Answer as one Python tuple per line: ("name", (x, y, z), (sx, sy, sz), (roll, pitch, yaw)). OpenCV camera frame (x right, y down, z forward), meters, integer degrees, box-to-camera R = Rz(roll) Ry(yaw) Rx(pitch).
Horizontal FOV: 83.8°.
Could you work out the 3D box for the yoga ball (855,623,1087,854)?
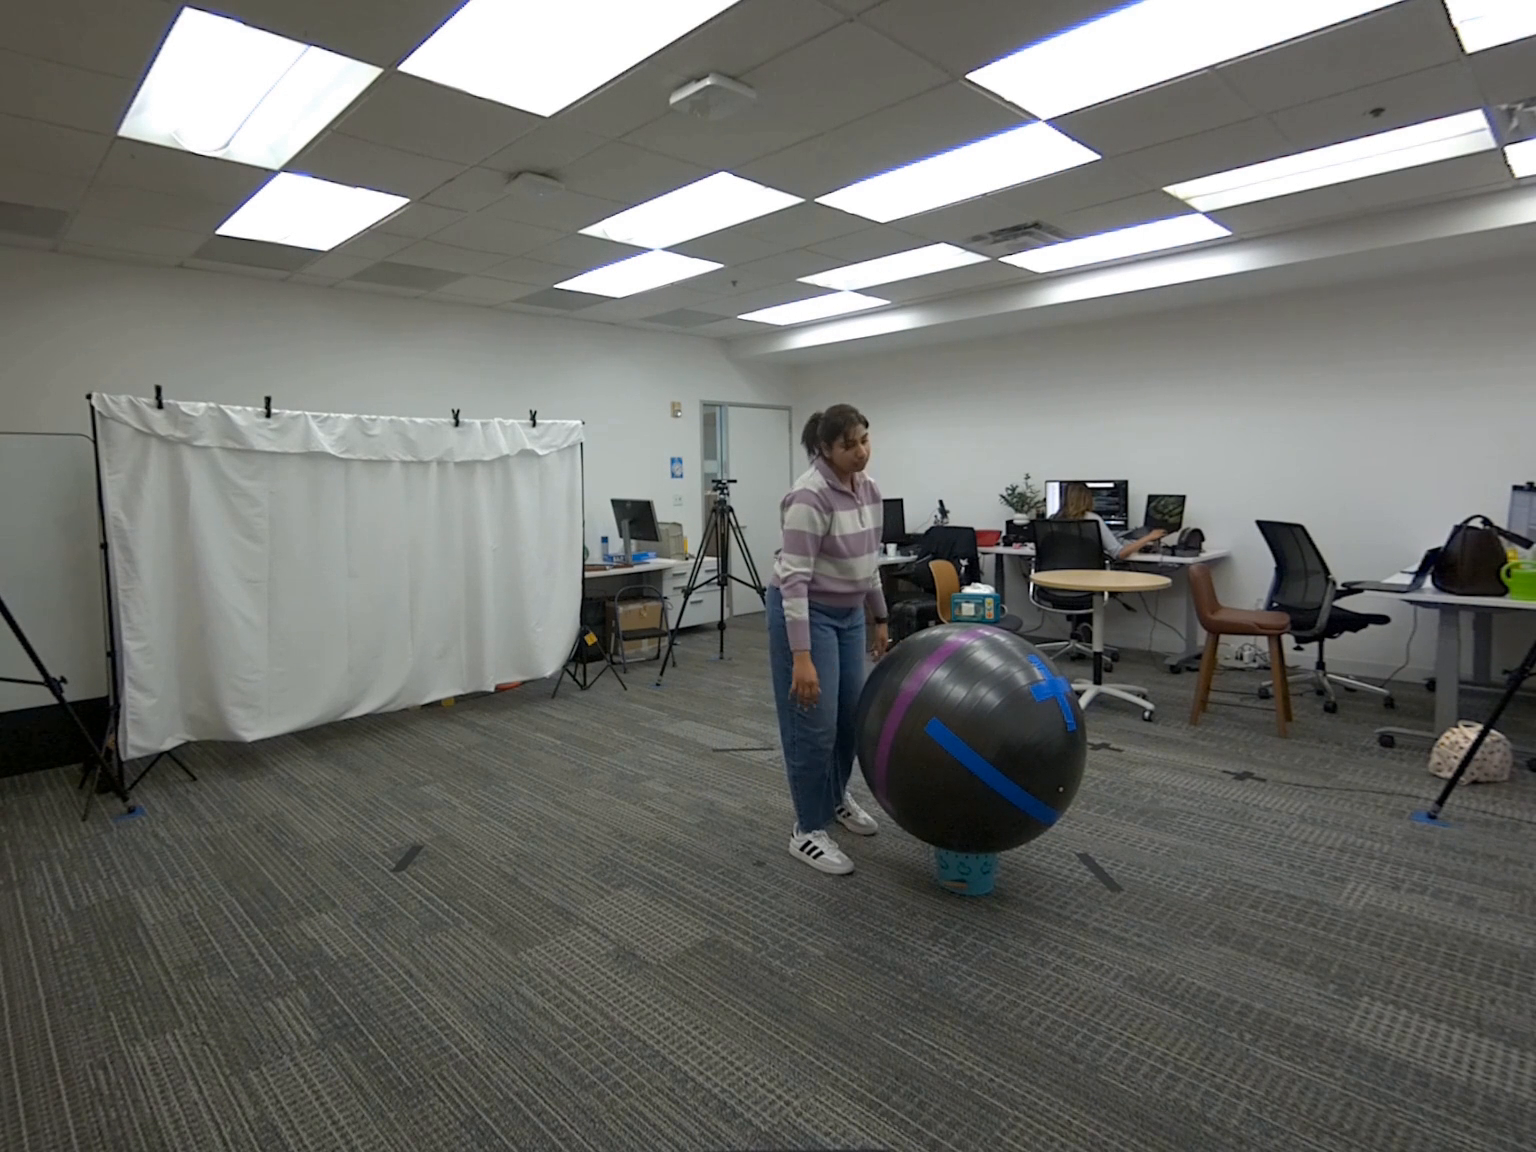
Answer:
("yoga ball", (0.692, 0.549, 2.901), (0.757, 0.755, 0.762), (-1, 5, -2))
